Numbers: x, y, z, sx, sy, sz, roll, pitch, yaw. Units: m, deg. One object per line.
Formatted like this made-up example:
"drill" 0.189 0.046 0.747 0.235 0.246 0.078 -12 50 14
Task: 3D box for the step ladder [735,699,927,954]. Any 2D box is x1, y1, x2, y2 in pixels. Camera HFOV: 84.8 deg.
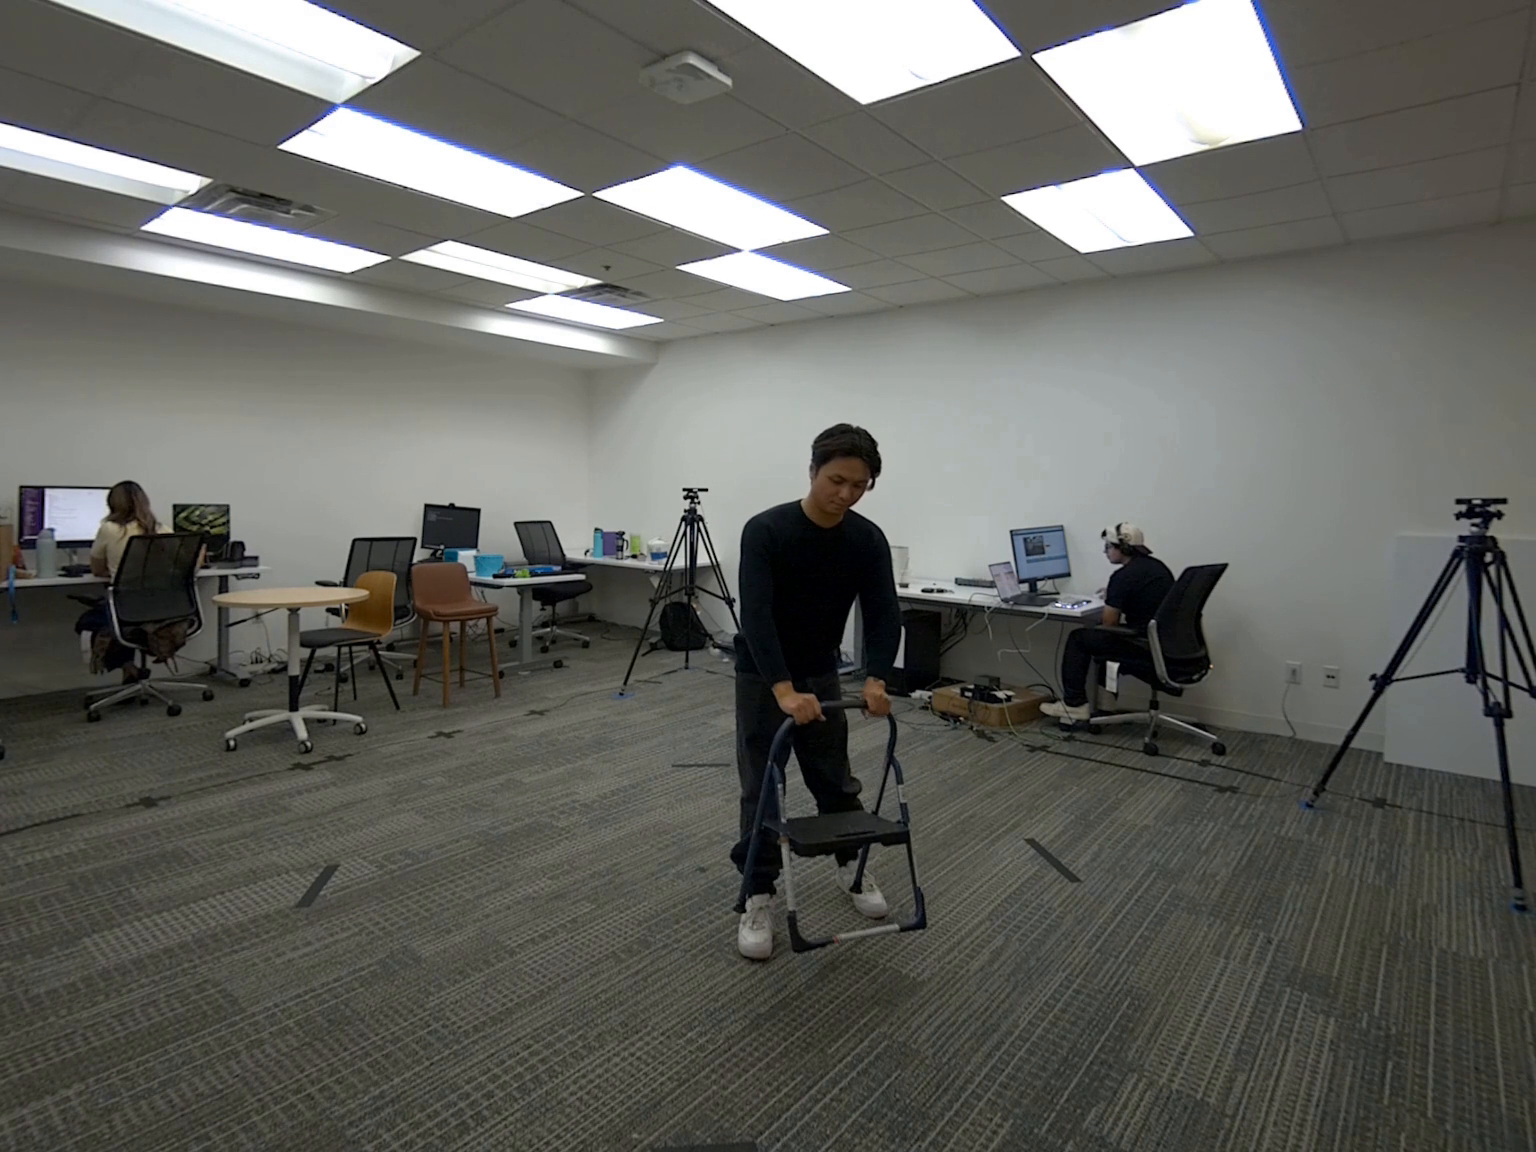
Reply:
"step ladder" 0.170 0.650 2.384 0.419 0.608 0.357 2 -4 -28
